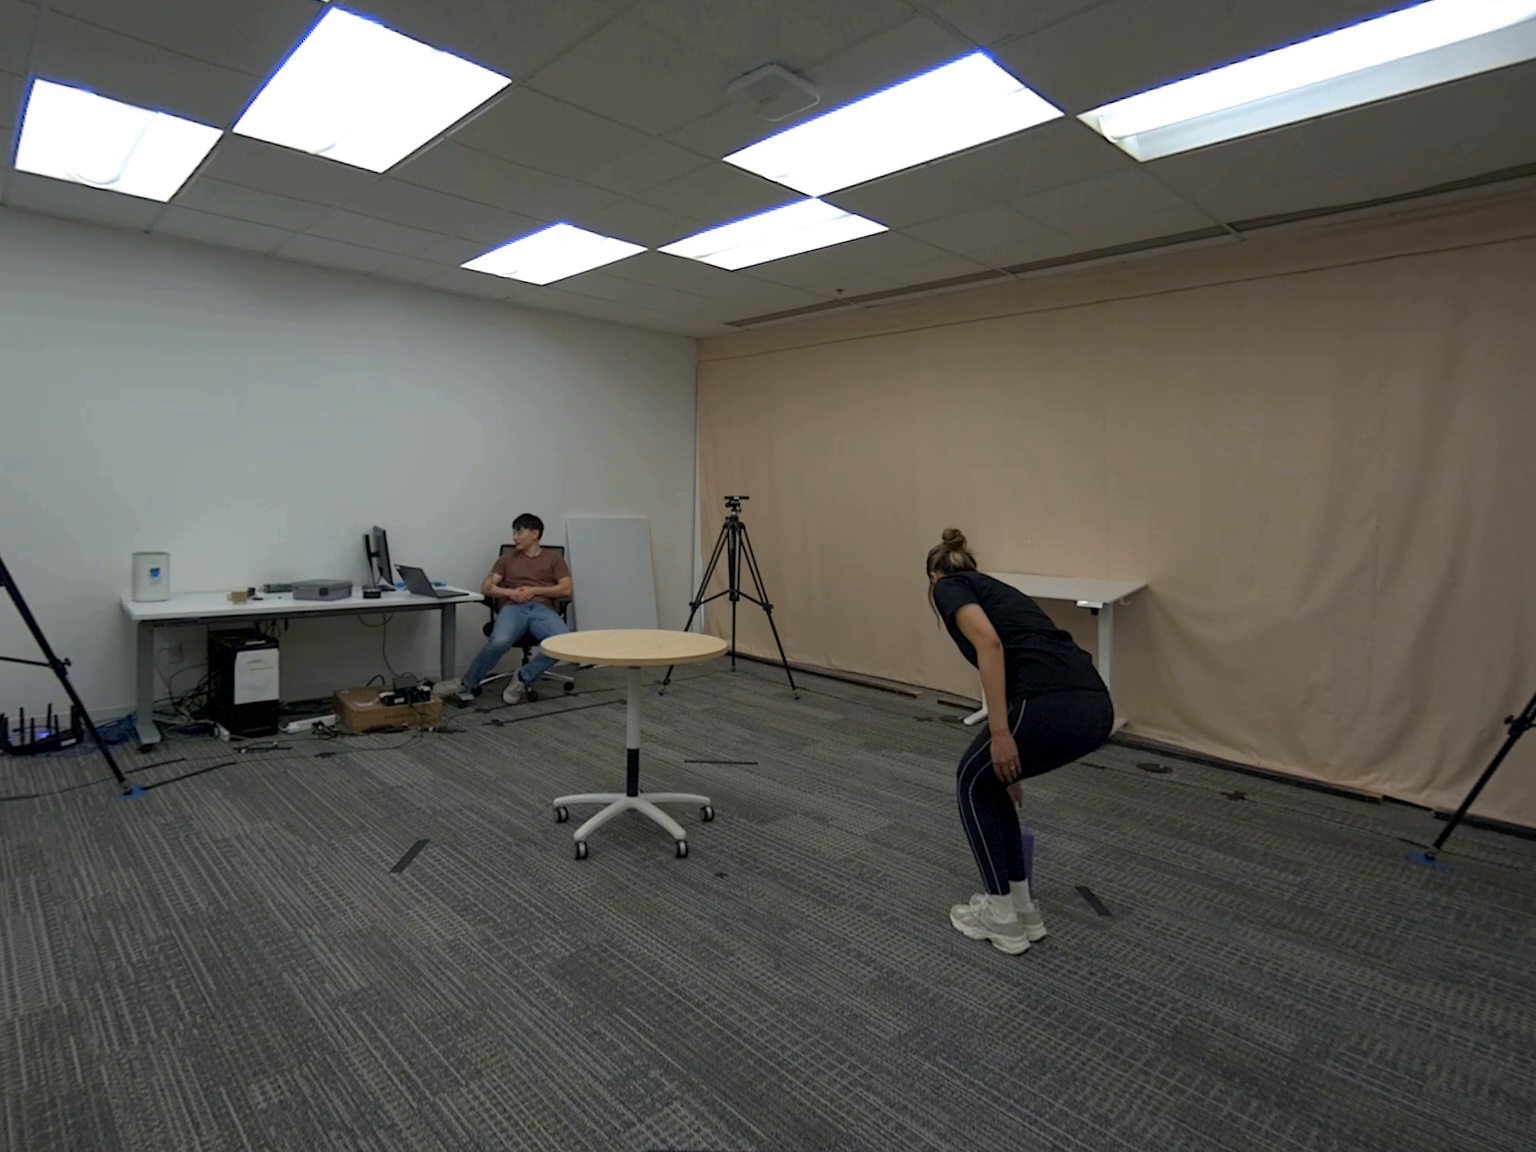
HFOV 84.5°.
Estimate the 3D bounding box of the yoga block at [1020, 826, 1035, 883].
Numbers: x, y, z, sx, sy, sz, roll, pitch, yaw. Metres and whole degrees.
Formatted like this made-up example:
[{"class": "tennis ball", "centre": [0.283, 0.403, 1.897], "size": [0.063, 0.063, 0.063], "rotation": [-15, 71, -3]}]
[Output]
[{"class": "yoga block", "centre": [0.872, 1.028, 3.022], "size": [0.150, 0.229, 0.076], "rotation": [7, 2, 7]}]
